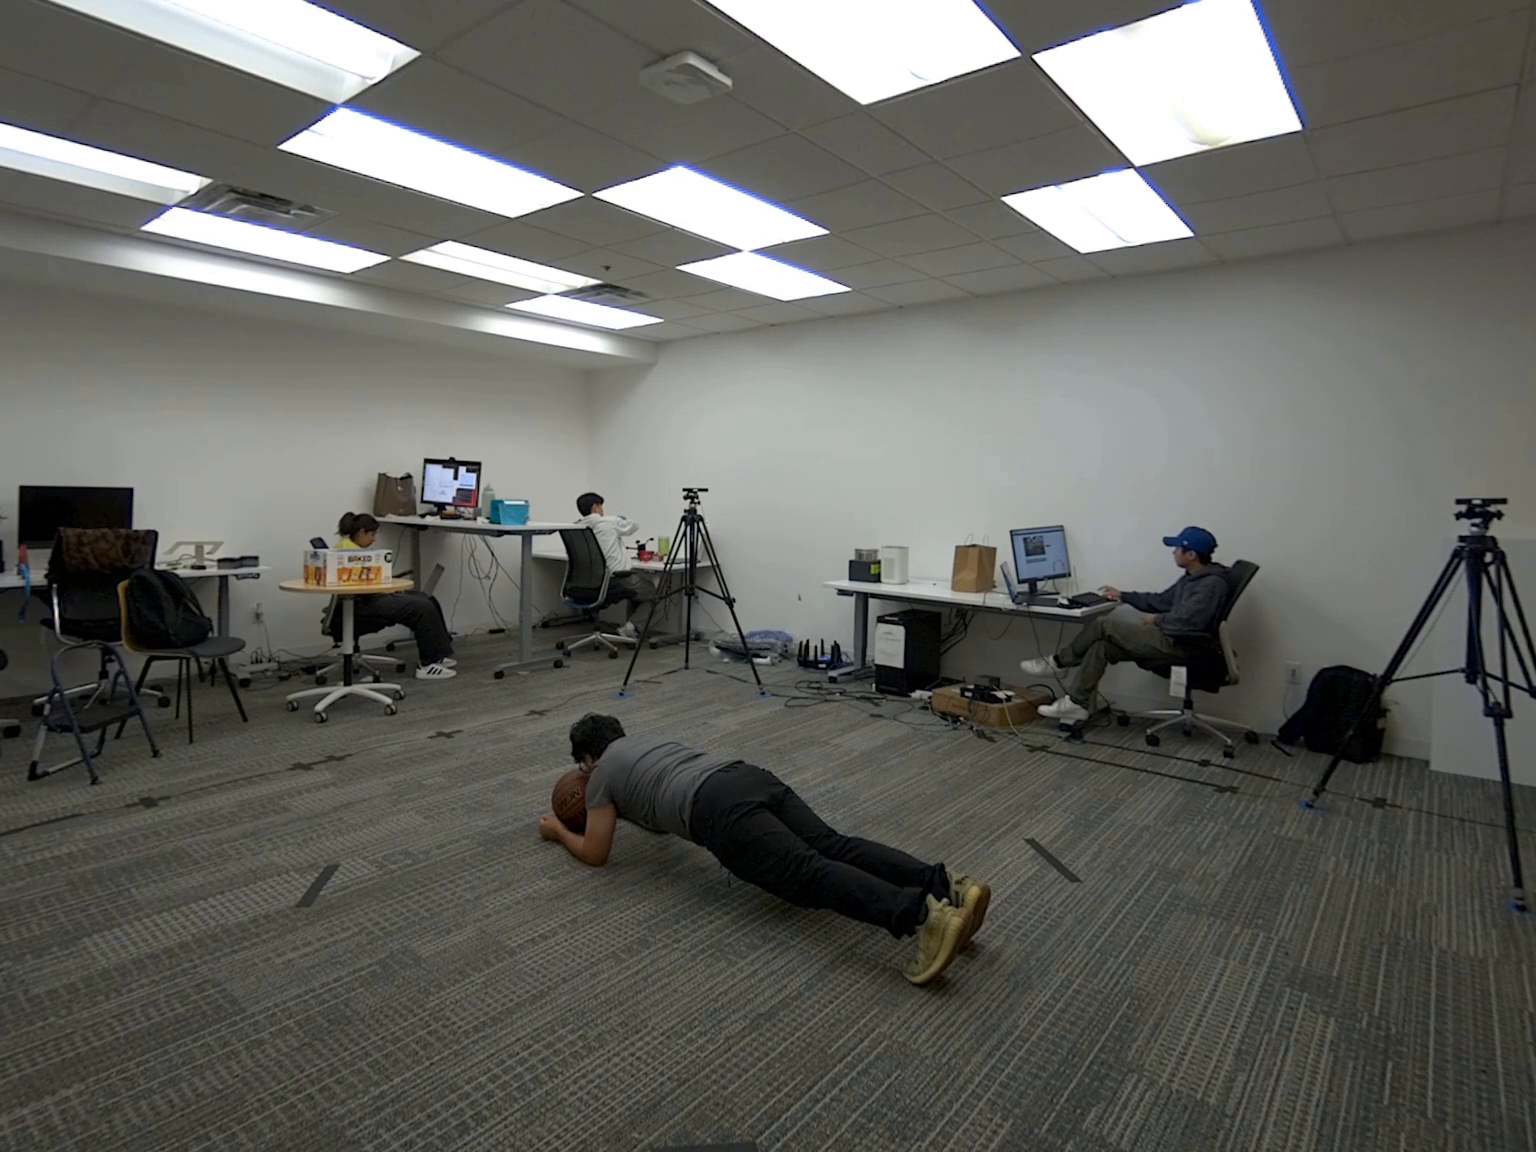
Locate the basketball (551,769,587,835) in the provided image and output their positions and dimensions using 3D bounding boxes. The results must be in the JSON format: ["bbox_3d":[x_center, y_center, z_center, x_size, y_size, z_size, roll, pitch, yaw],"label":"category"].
[{"bbox_3d":[-0.777,0.906,3.469,0.235,0.235,0.237,1,4,-2],"label":"basketball"}]
